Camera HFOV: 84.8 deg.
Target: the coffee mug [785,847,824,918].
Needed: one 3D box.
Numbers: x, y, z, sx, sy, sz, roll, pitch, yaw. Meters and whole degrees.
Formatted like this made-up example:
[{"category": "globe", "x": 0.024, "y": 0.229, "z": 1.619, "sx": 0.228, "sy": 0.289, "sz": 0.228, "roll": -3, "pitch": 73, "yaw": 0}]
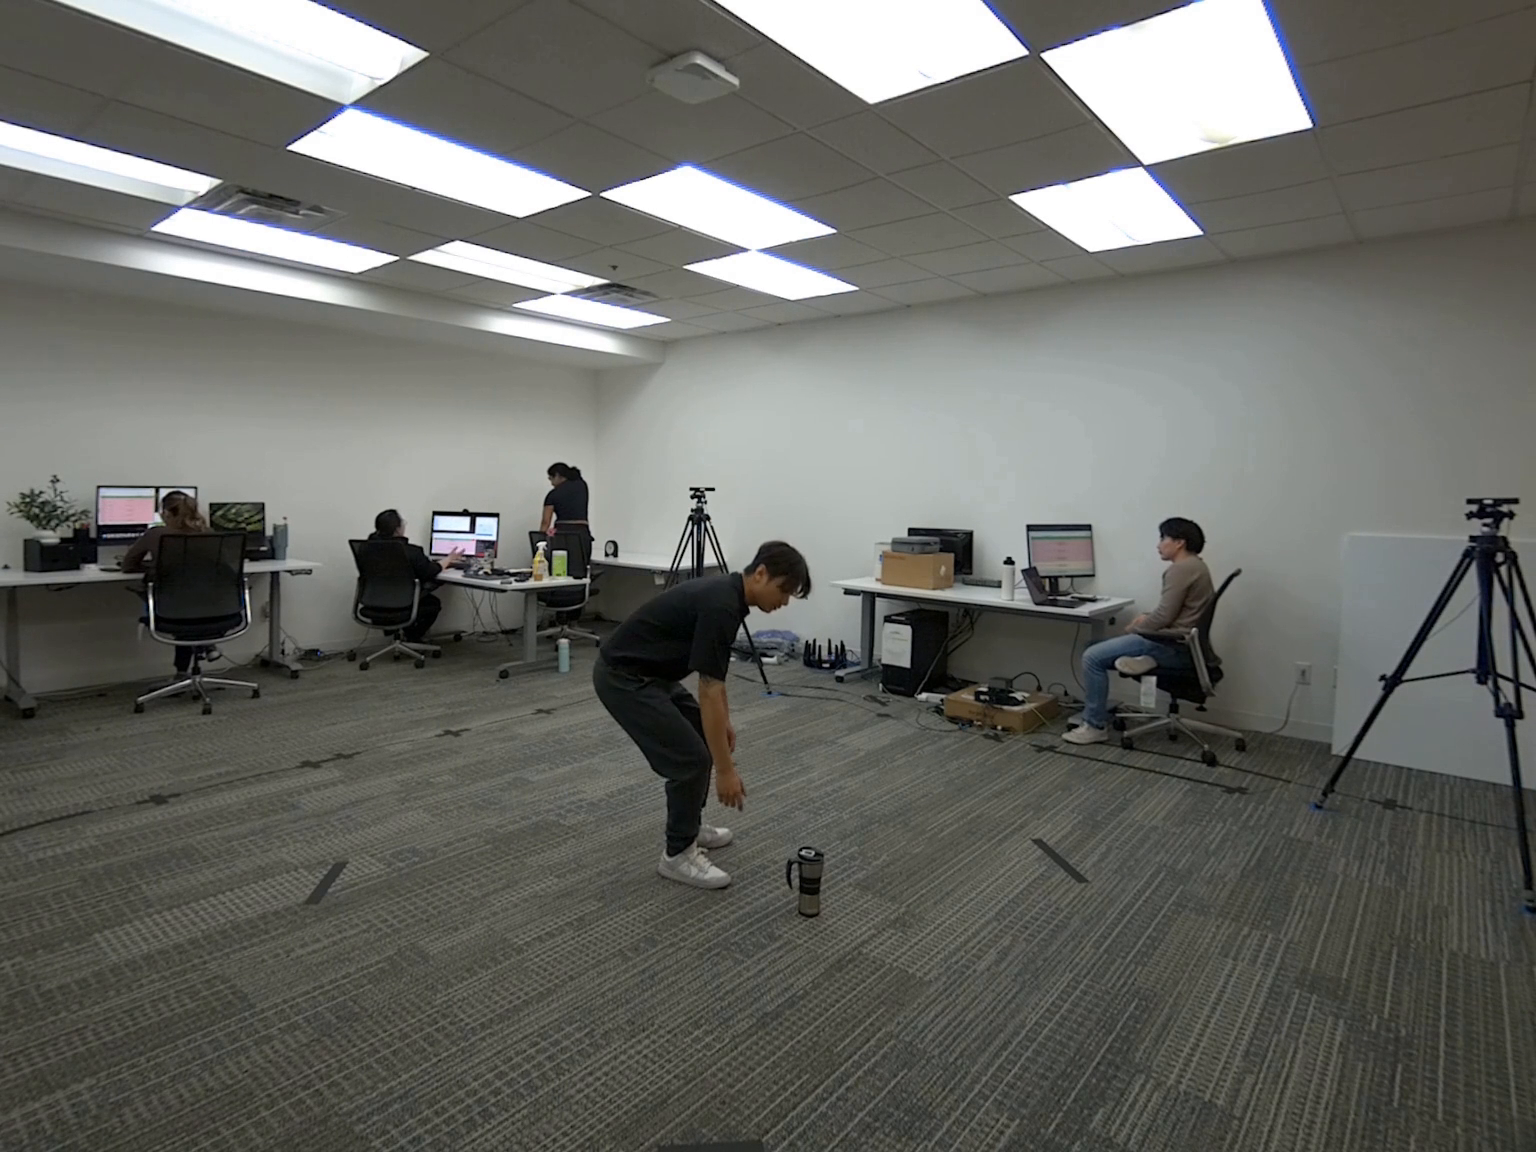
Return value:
[{"category": "coffee mug", "x": 0.118, "y": 1.000, "z": 2.810, "sx": 0.085, "sy": 0.201, "sz": 0.126, "roll": -7, "pitch": 14, "yaw": -44}]
